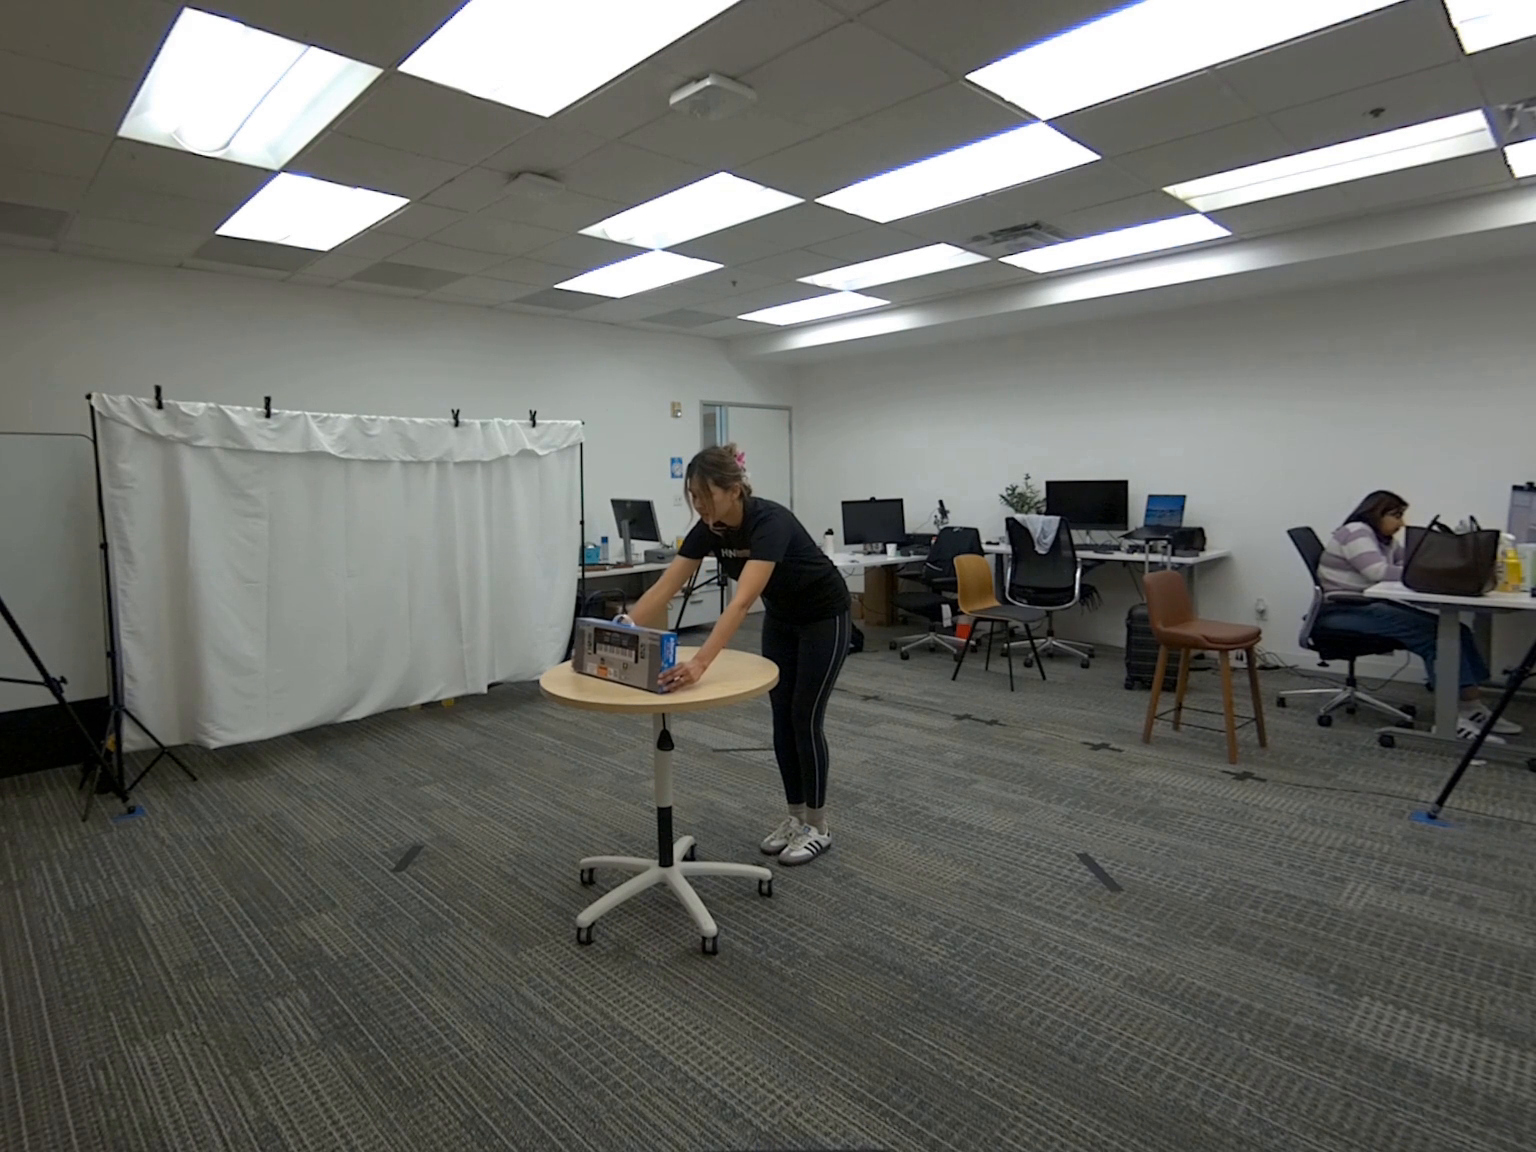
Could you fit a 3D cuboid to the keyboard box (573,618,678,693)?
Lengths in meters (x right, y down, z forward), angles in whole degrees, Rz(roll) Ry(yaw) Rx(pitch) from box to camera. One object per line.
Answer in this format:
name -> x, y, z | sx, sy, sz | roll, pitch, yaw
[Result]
keyboard box -> -0.450, 0.241, 2.645 | 0.450, 0.176, 0.057 | 5, 0, 44
